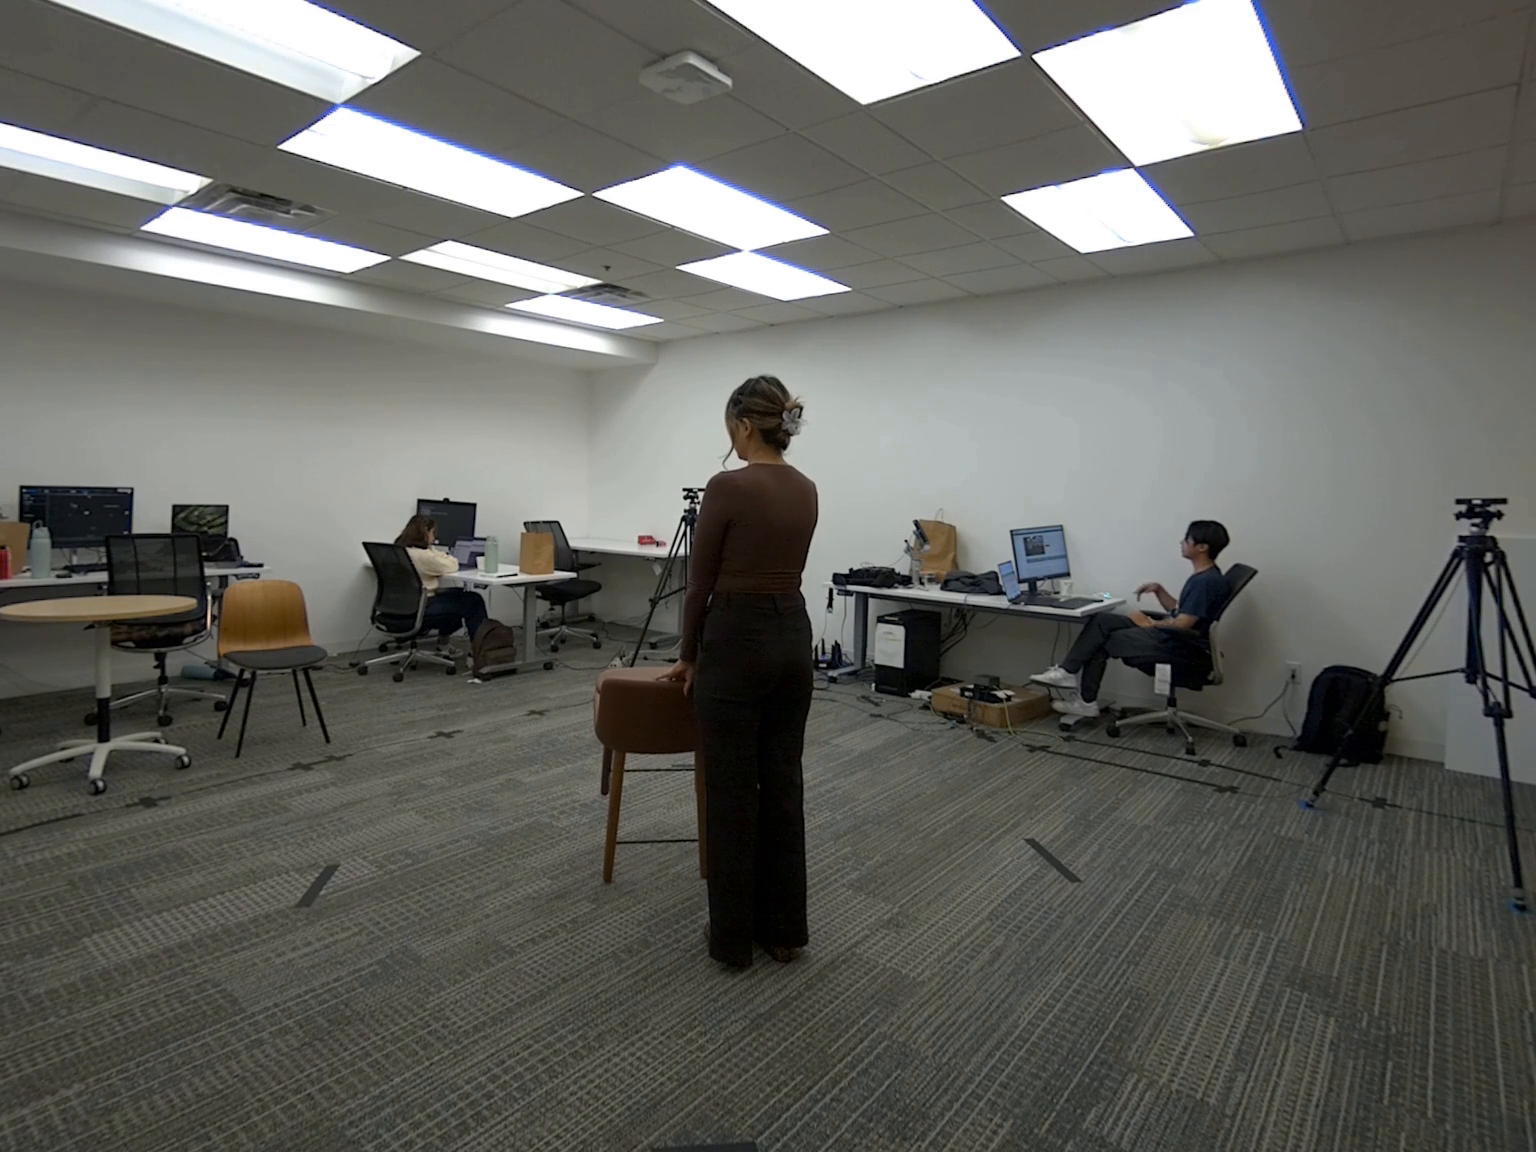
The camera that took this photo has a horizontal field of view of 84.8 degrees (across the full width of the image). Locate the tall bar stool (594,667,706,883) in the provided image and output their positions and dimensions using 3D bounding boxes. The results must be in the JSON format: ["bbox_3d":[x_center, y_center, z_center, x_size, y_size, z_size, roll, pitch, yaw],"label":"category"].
[{"bbox_3d":[-0.401,0.593,3.012,0.453,0.871,0.482,1,29,-8],"label":"tall bar stool"}]
